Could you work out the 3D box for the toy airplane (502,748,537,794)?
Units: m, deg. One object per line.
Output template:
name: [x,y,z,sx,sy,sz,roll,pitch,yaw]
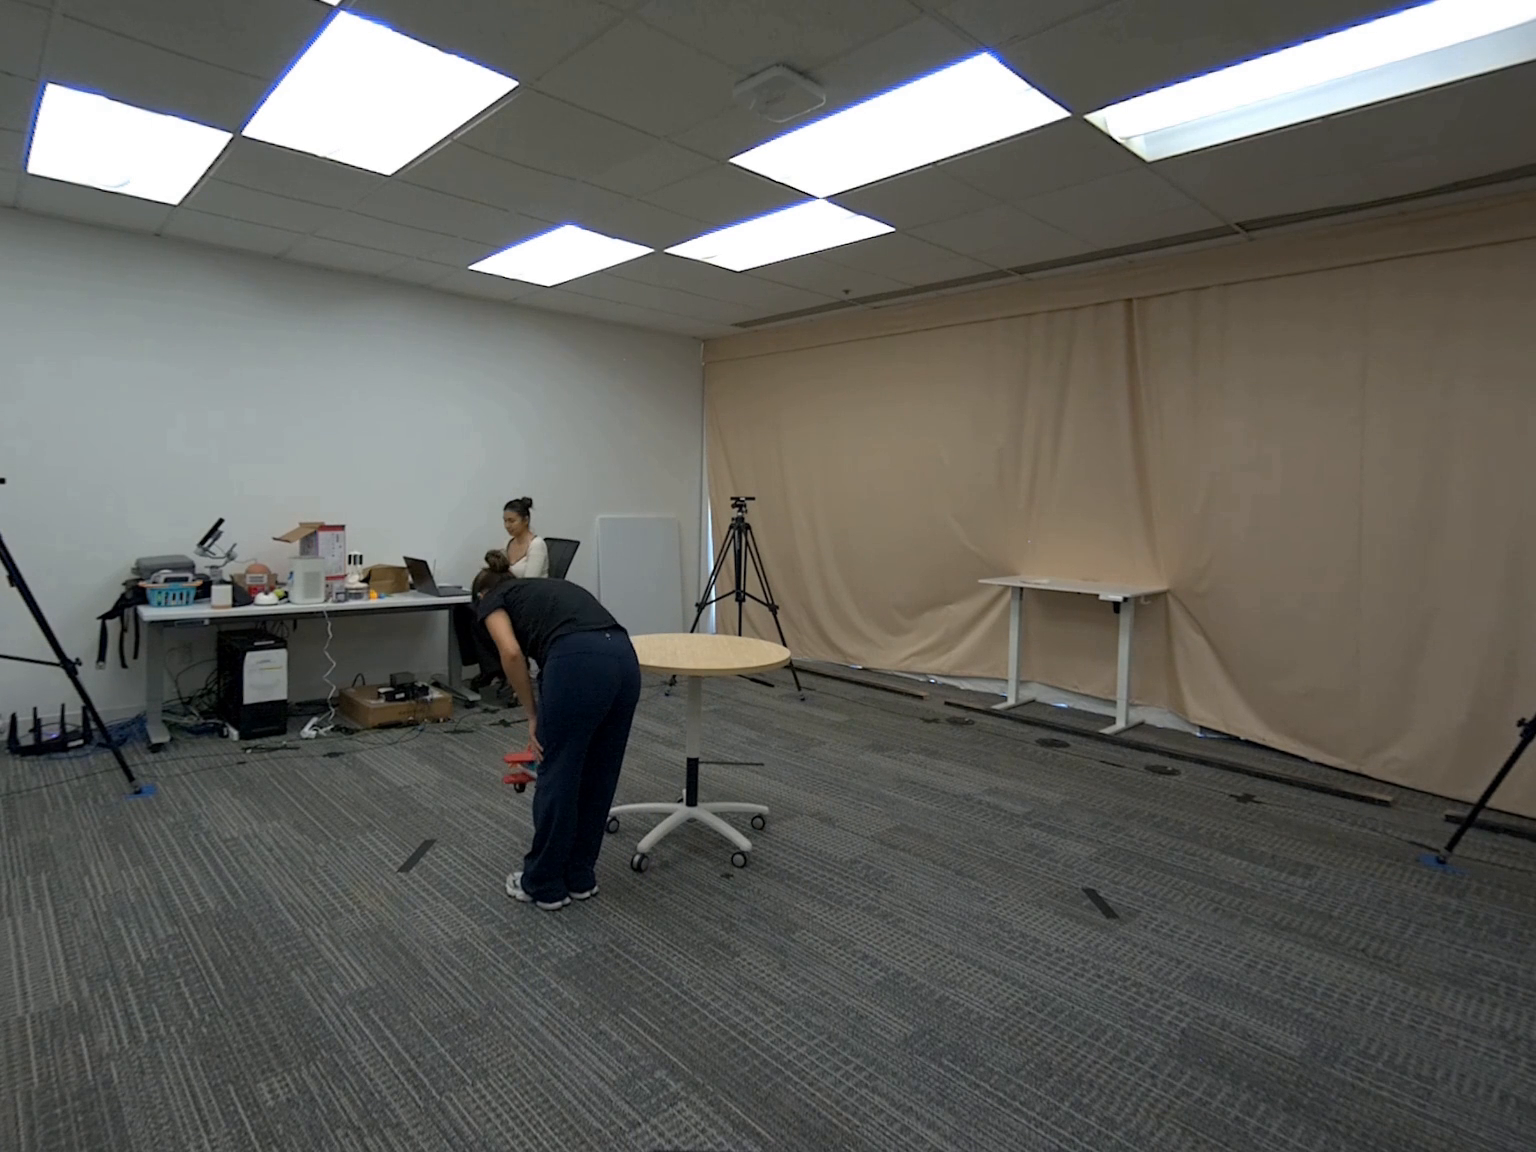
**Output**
toy airplane: [-0.866,0.748,3.201,0.262,0.157,0.246,-8,-8,20]
